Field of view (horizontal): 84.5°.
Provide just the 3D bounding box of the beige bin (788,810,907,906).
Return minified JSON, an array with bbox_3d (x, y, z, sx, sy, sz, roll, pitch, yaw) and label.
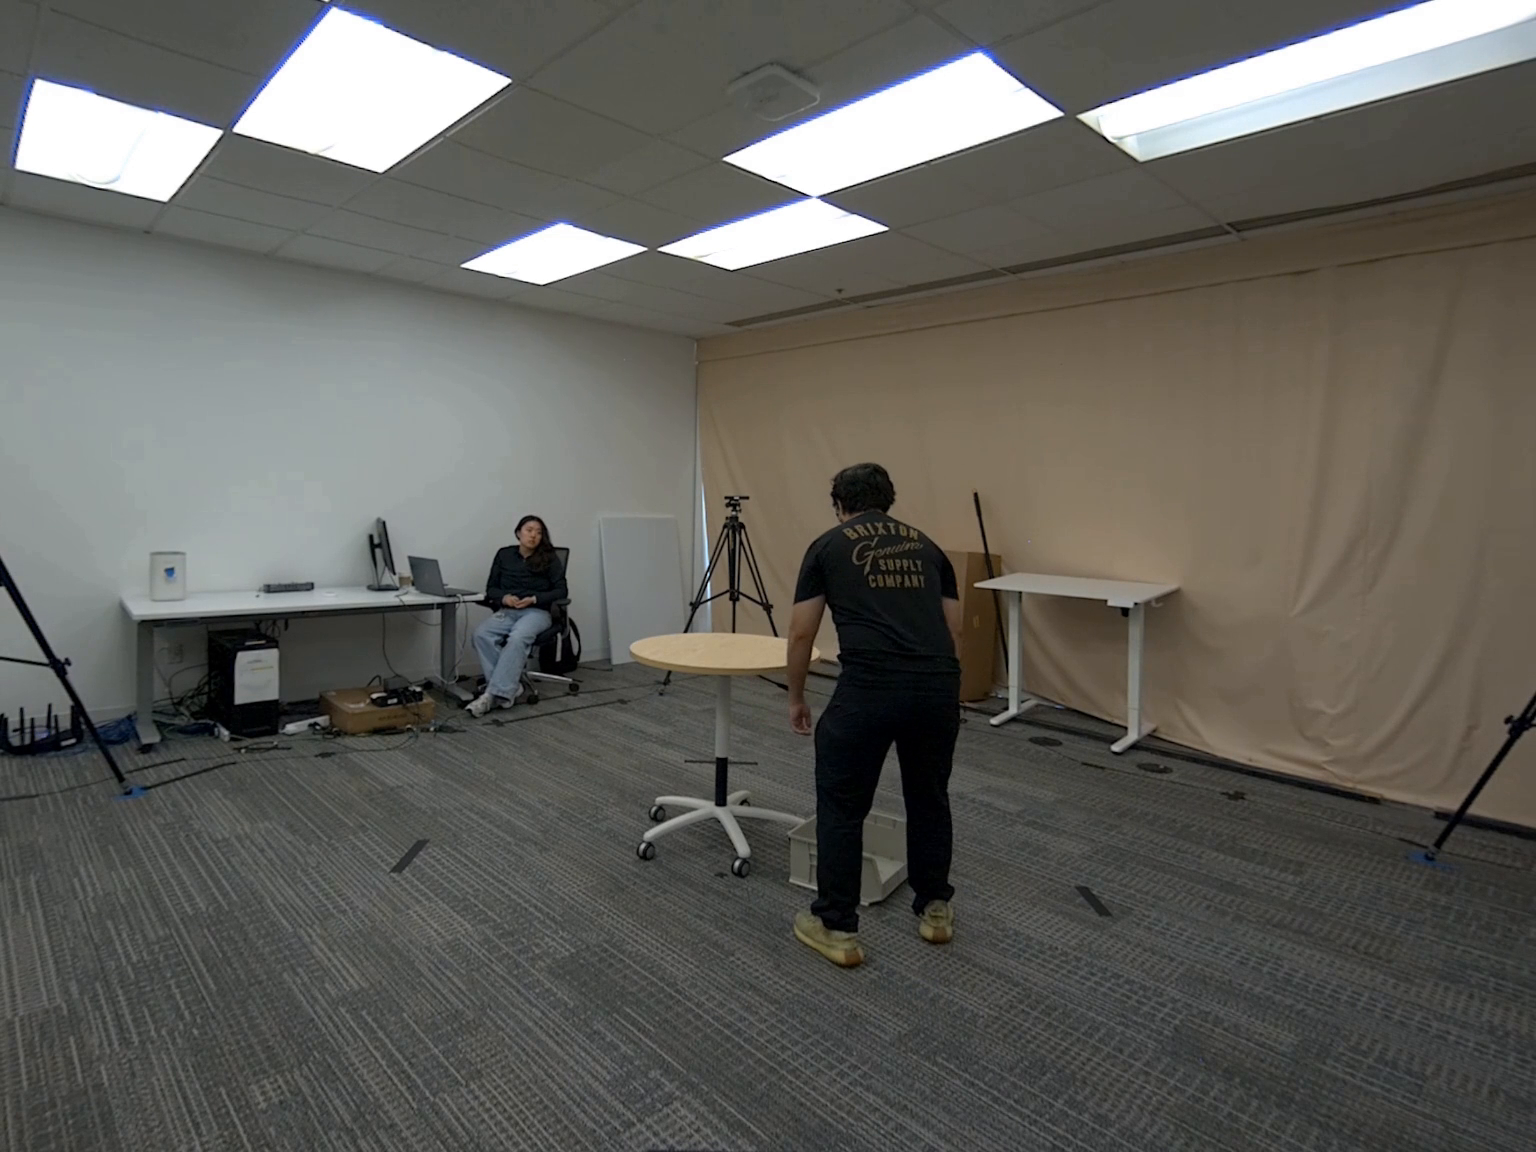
[{"bbox_3d":[0.329,1.025,3.127,0.386,0.188,0.414,3,6,32],"label":"beige bin"}]
